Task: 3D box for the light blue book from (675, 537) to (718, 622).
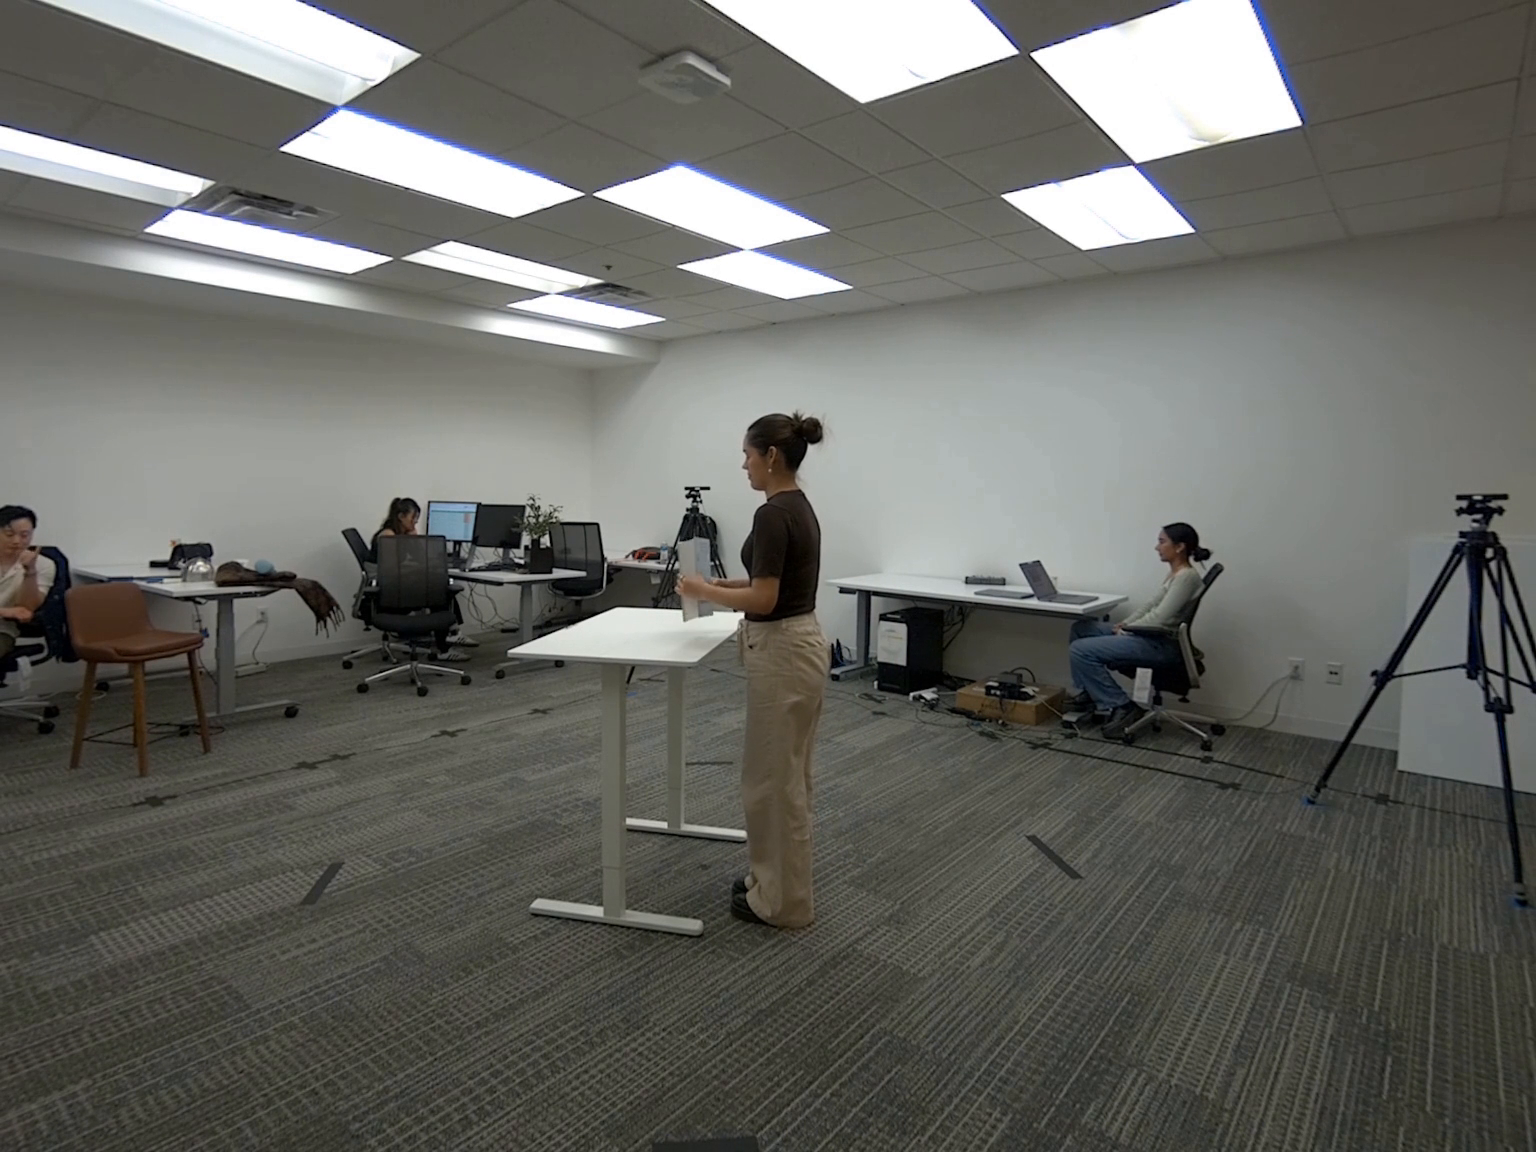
[{"bbox_3d":[-0.250,0.001,2.842,0.059,0.261,0.189,-6,-1,10],"label":"light blue book"}]
